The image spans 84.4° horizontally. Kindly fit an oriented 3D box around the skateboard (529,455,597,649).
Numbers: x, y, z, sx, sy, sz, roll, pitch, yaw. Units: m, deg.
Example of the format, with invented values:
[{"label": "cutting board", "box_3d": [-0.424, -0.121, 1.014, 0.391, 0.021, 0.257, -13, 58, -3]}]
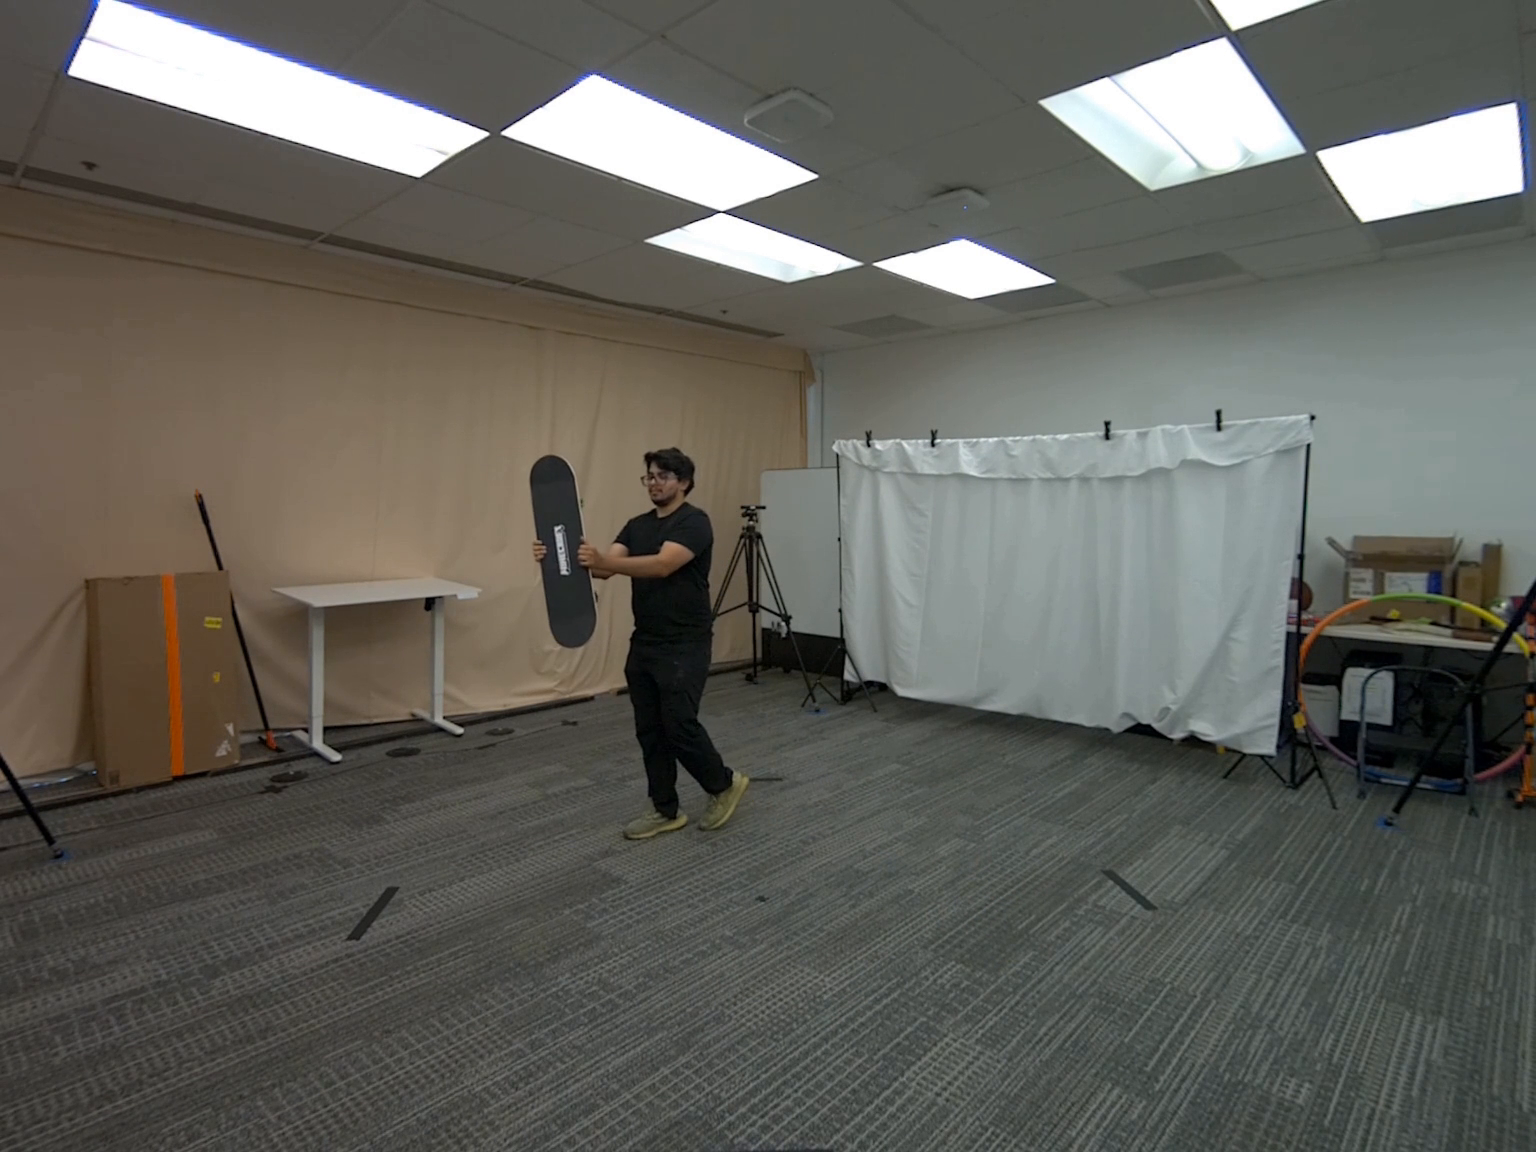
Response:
[{"label": "skateboard", "box_3d": [-0.804, -0.093, 3.332, 0.195, 0.795, 0.108, -13, -14, 7]}]
